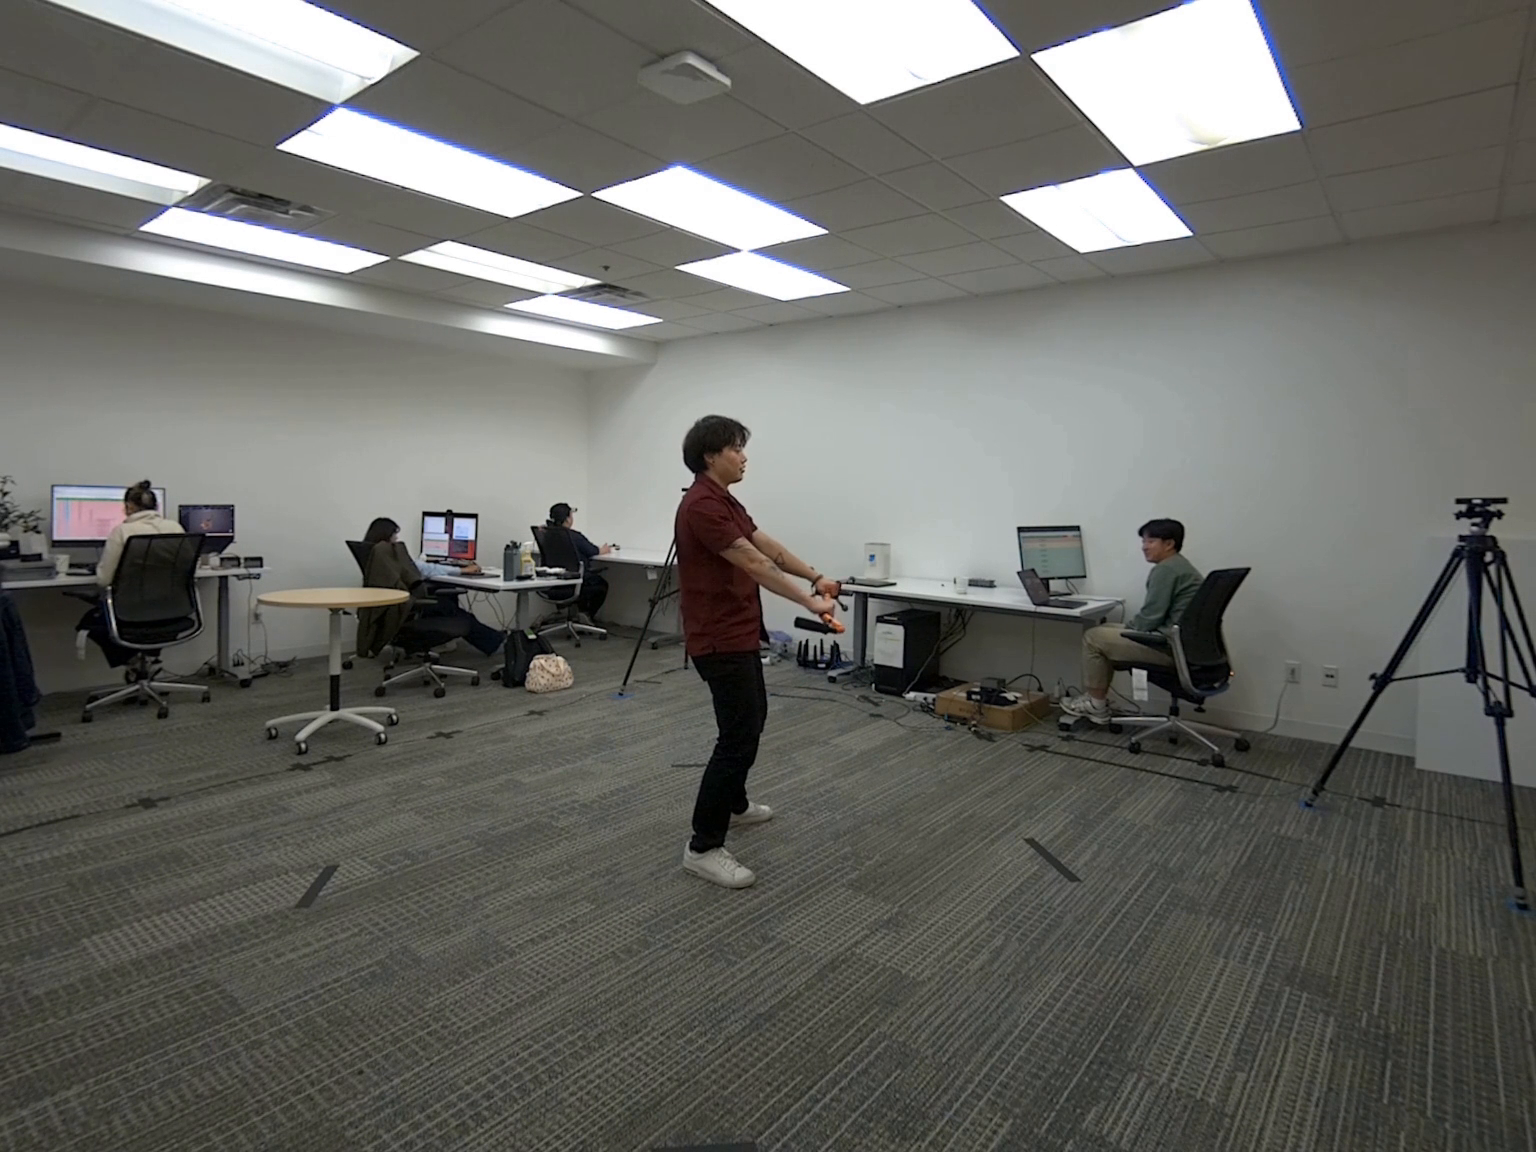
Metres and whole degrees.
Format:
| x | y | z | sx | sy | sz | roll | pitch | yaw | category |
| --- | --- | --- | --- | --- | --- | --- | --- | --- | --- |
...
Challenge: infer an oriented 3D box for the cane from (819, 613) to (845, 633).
| x | y | z | sx | sy | sz | roll | pitch | yaw | category |
| --- | --- | --- | --- | --- | --- | --- | --- | --- | --- |
| 0.205 | 0.112 | 3.152 | 0.207 | 0.151 | 0.907 | 15 | 8 | 2 | cane |
